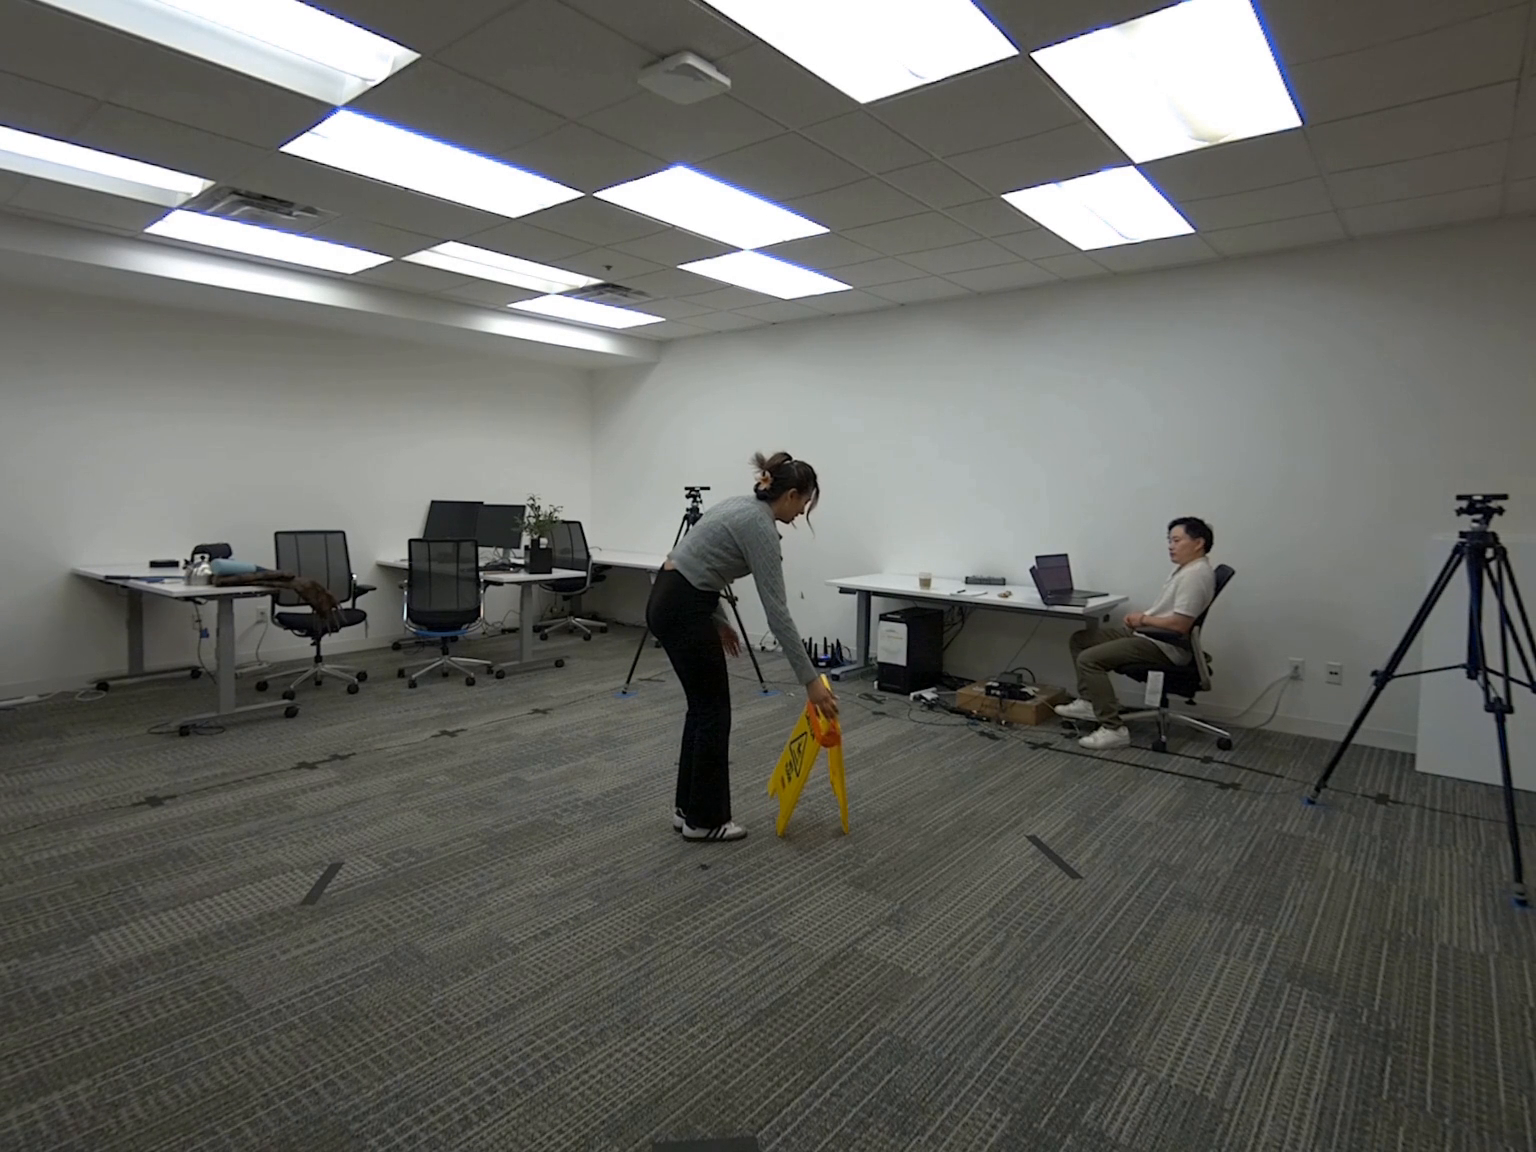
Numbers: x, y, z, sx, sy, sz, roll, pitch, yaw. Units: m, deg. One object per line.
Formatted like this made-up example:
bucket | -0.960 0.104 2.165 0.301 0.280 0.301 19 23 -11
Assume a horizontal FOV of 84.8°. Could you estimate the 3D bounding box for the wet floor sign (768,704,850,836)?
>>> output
wet floor sign | 0.195 0.701 3.381 0.287 0.632 0.291 1 30 -9
